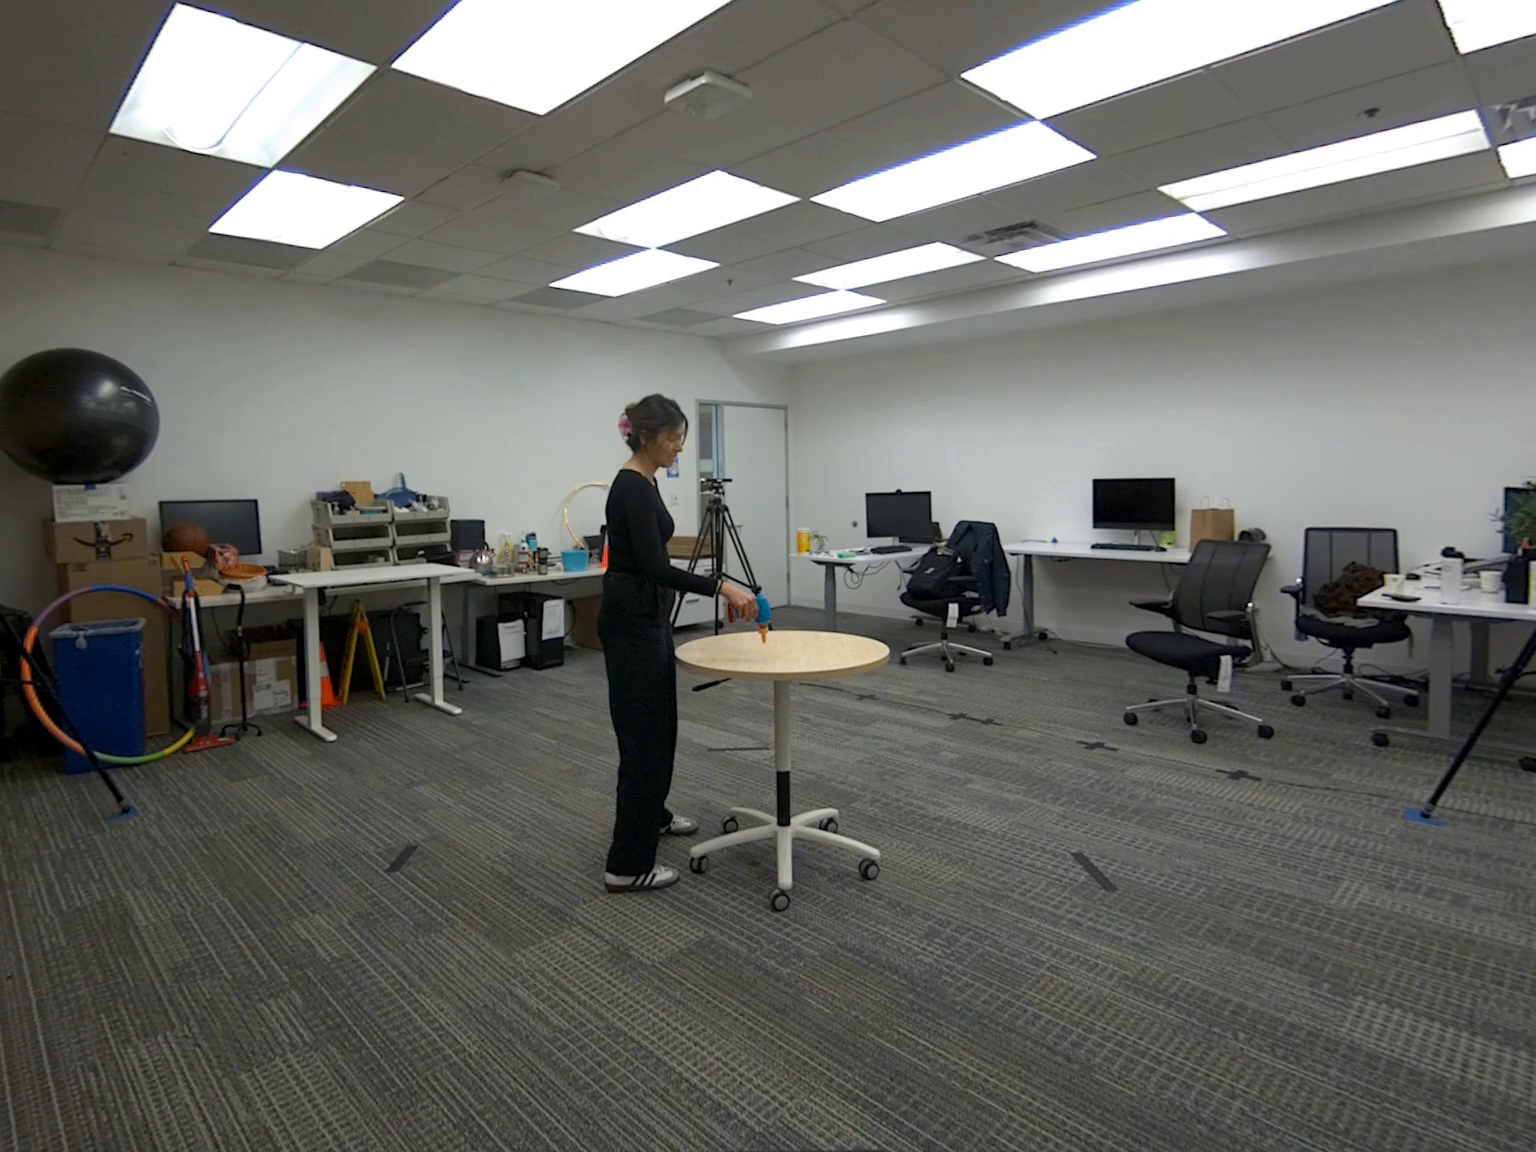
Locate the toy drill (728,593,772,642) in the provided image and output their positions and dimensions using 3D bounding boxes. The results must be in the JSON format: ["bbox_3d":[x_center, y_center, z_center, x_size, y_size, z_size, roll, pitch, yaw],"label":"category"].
[{"bbox_3d":[-0.060,0.152,2.886,0.144,0.167,0.063,-8,14,-14],"label":"toy drill"}]
